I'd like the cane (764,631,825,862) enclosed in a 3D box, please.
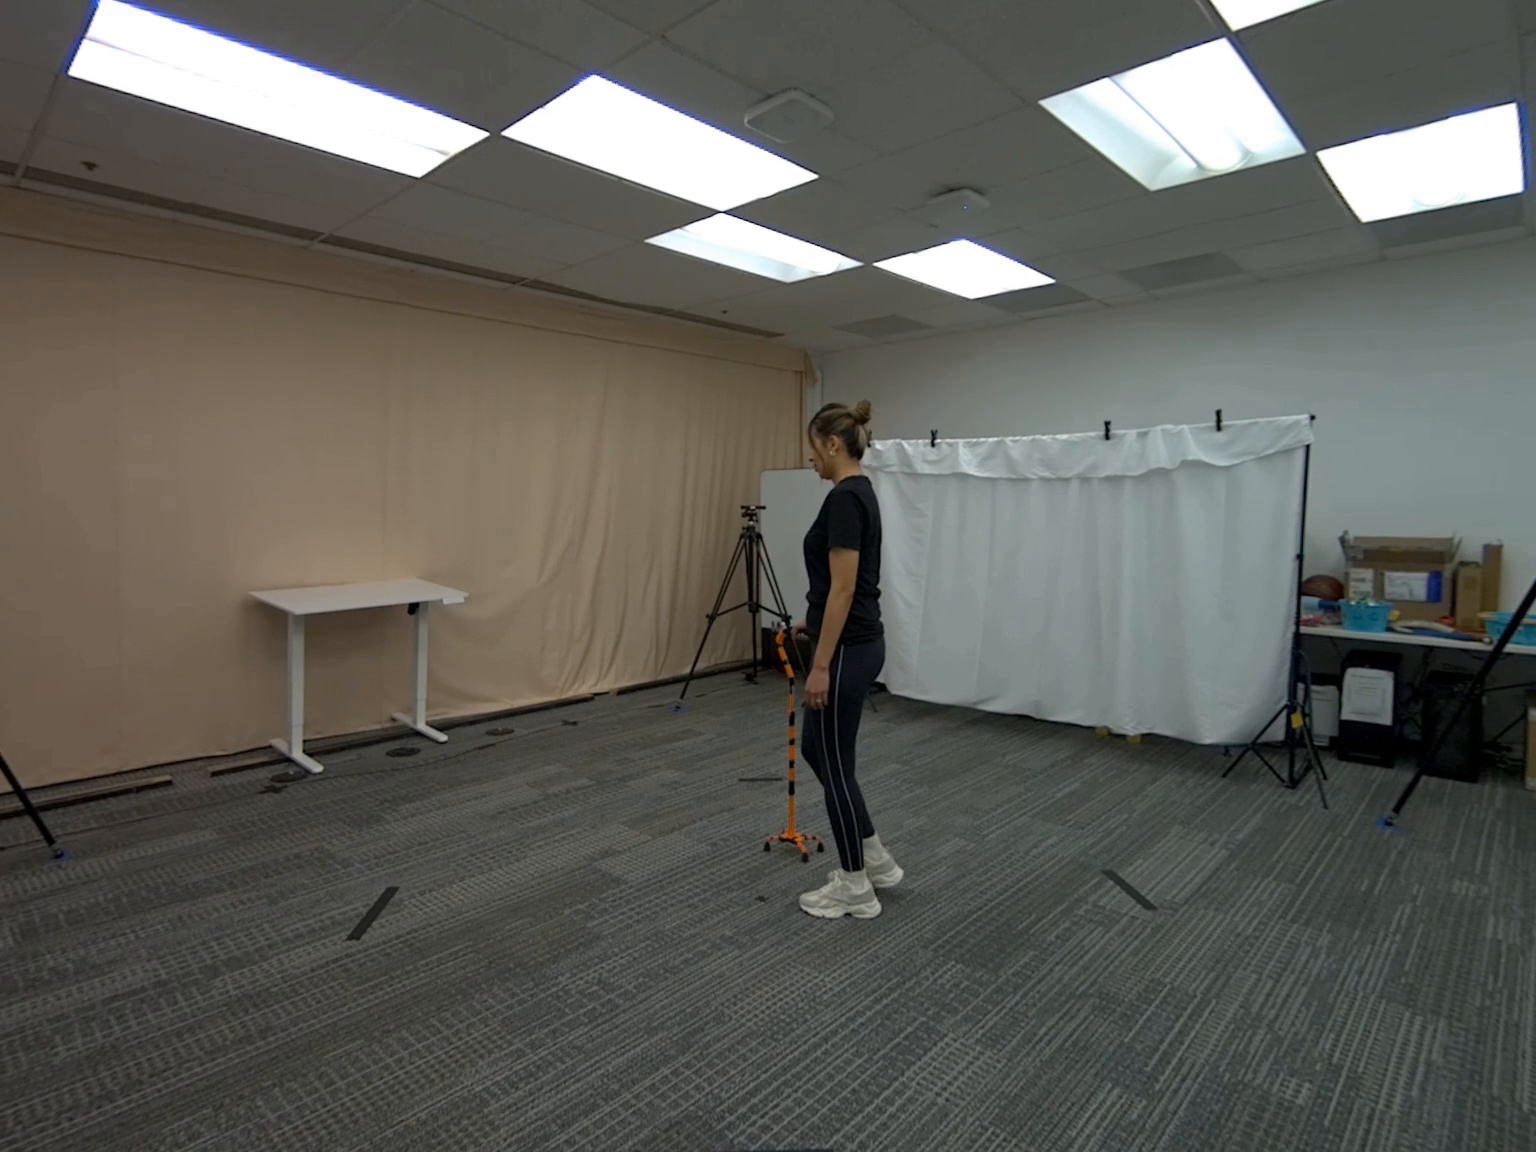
[{"bbox_3d":[0.100,0.651,3.365,0.213,0.906,0.147,1,4,34],"label":"cane"}]
